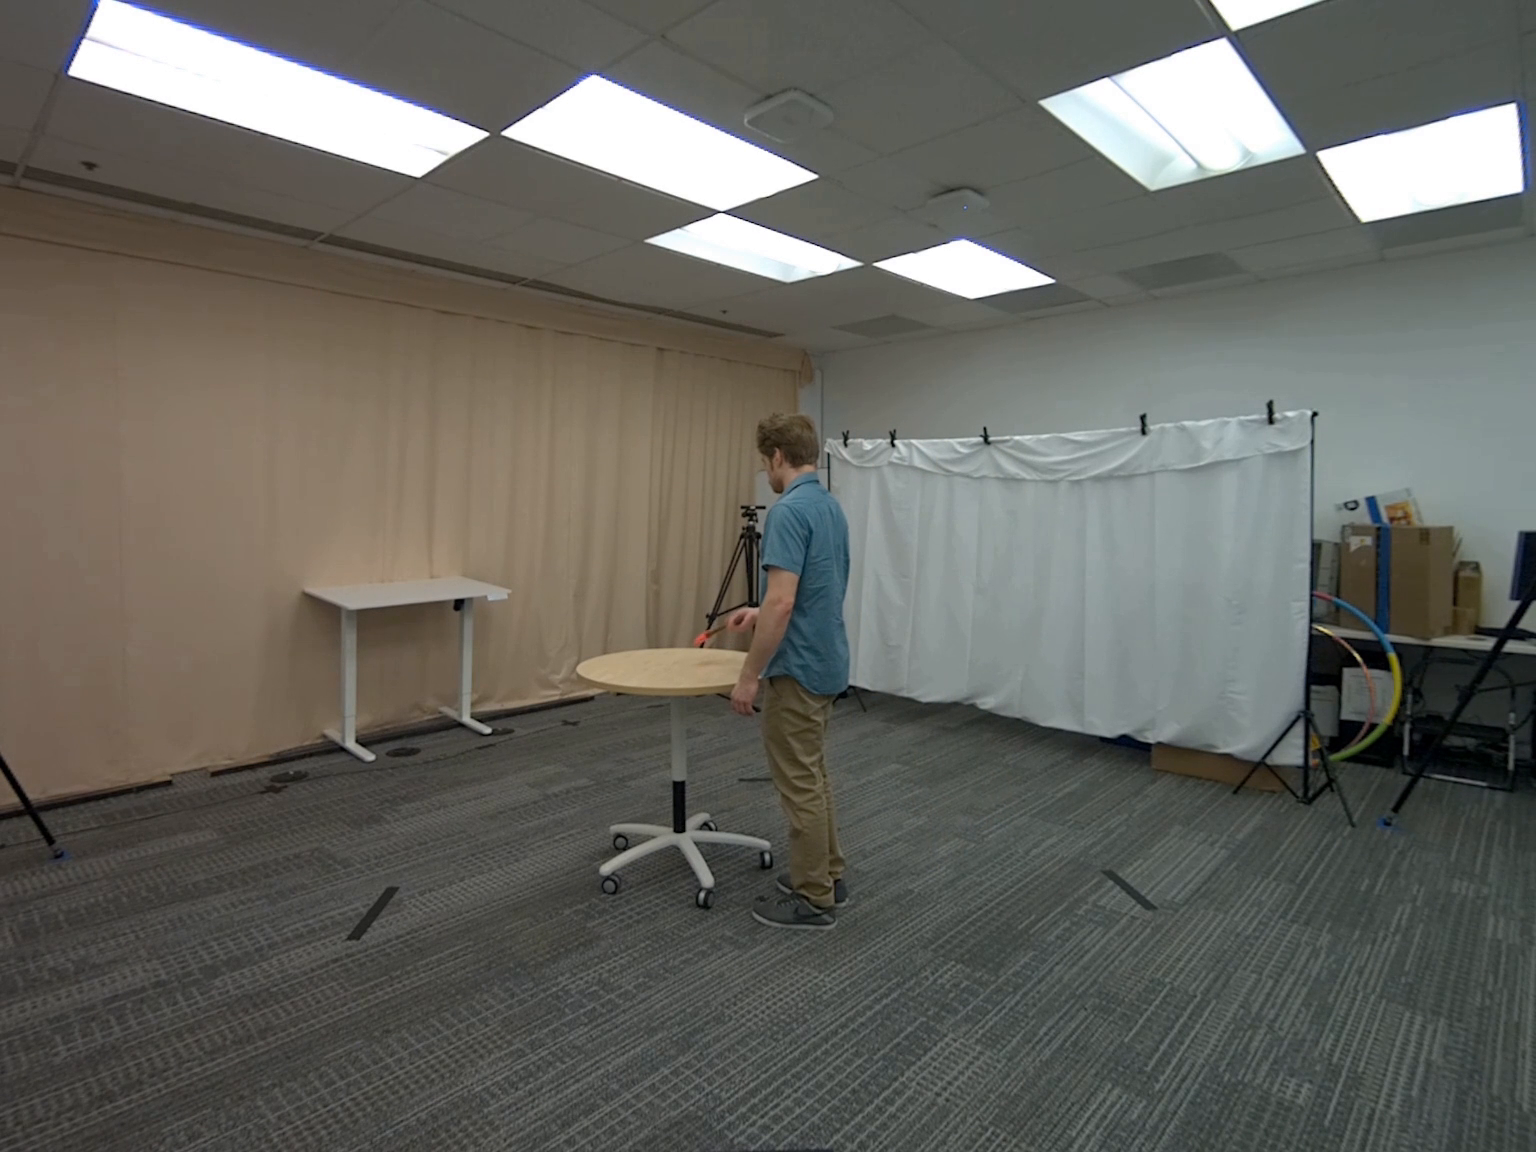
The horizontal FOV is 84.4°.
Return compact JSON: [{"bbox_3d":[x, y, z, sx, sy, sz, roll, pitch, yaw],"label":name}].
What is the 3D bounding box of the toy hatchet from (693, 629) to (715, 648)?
[{"bbox_3d":[-0.189,0.213,3.194,0.129,0.029,0.274,-29,1,-30],"label":"toy hatchet"}]
